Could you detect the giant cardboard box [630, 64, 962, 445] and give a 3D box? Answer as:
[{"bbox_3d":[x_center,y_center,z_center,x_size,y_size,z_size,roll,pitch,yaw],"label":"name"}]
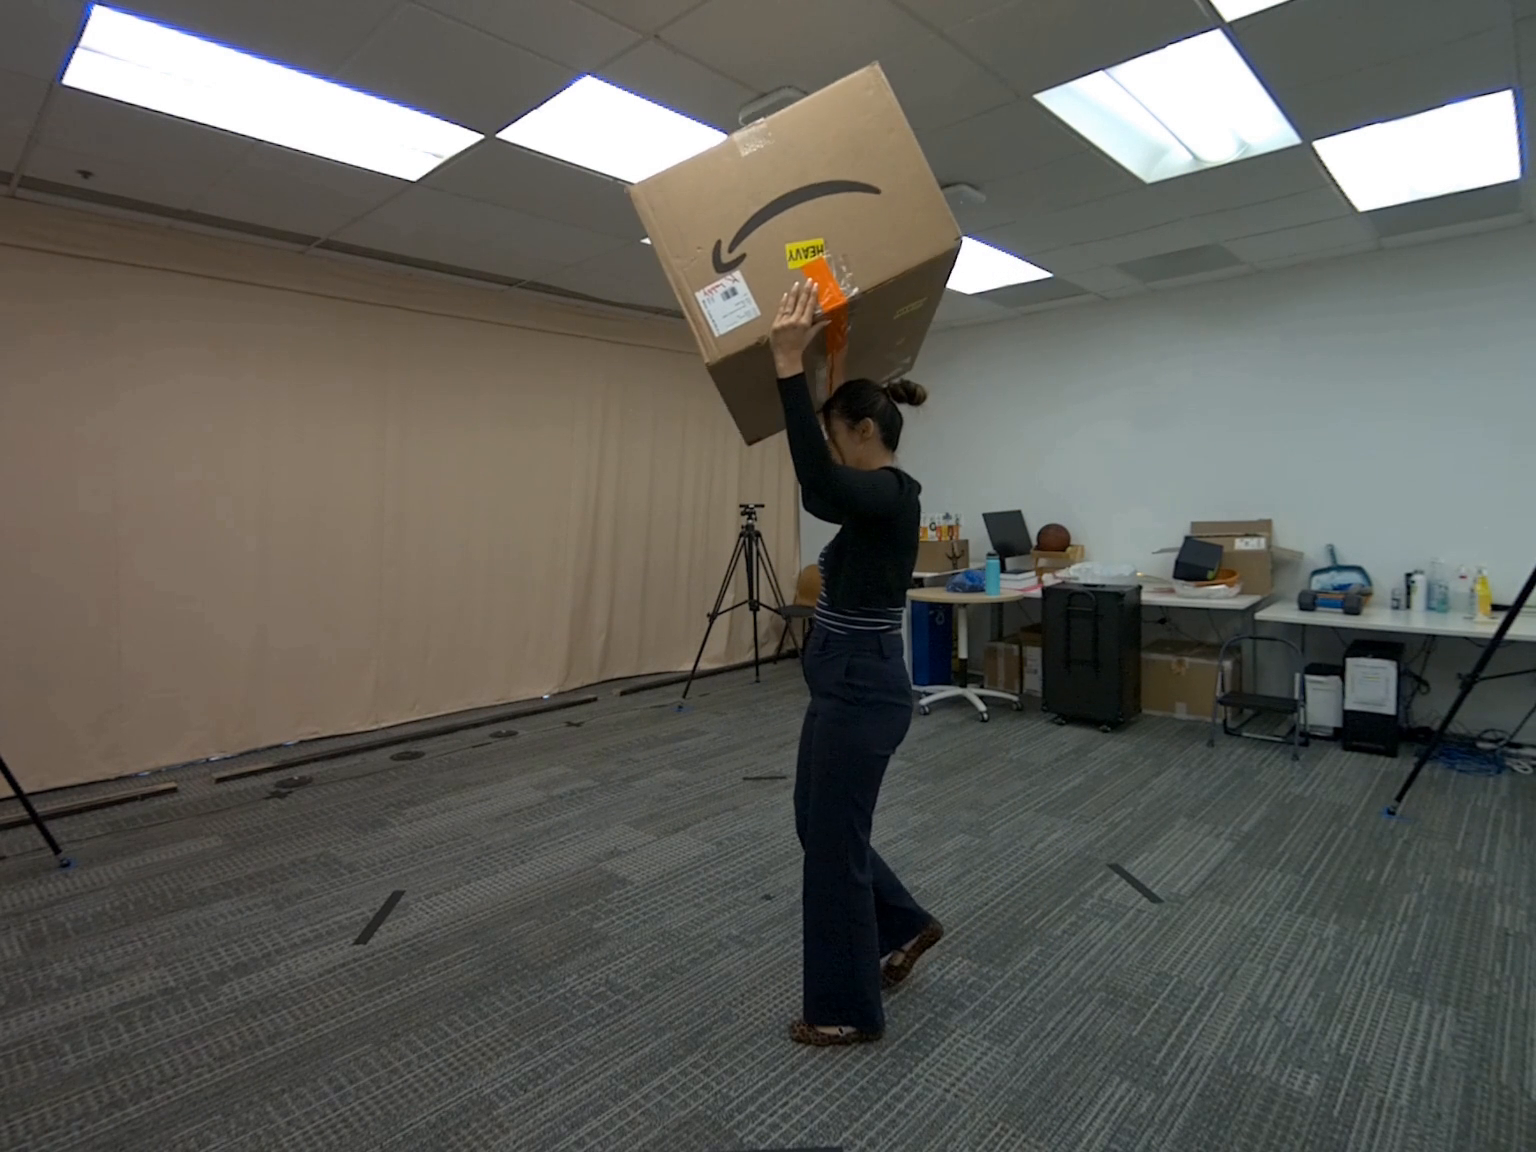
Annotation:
[{"bbox_3d":[0.088,-0.727,2.216,0.580,0.428,1.018,-23,-3,4],"label":"giant cardboard box"}]
